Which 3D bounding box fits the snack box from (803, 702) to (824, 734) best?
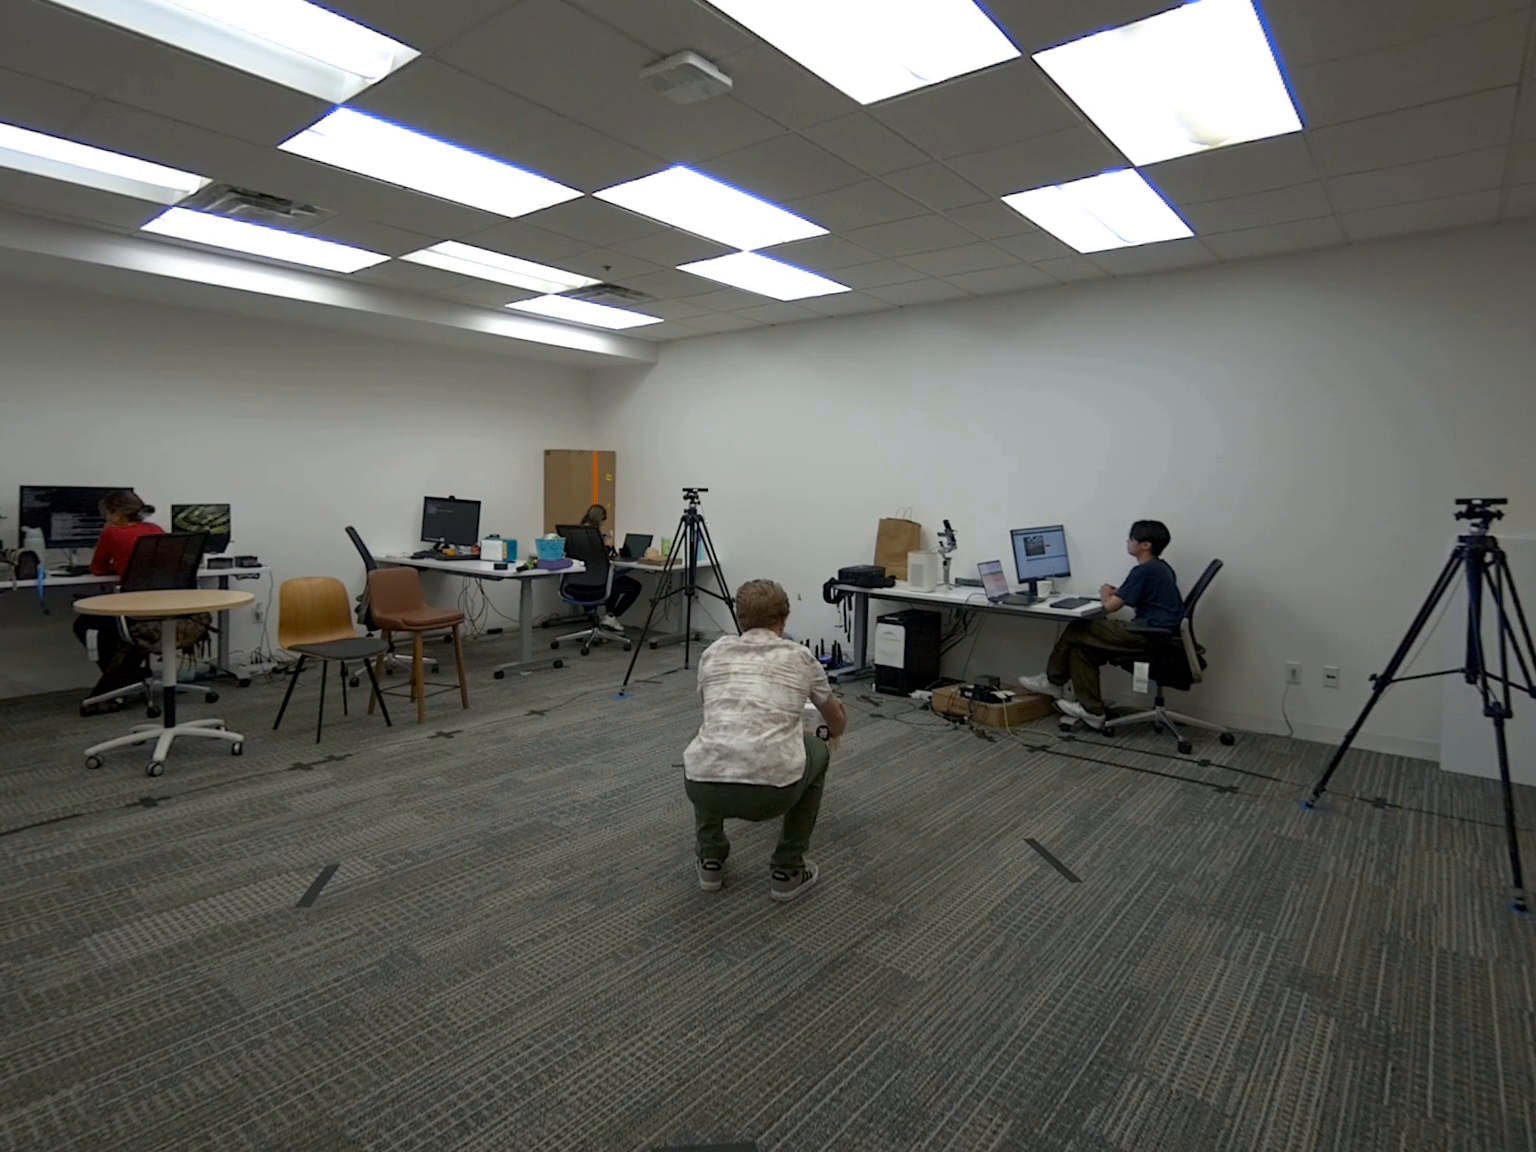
[{"bbox_3d":[0.075,0.620,3.612,0.411,0.206,0.334,1,-2,14],"label":"snack box"}]
